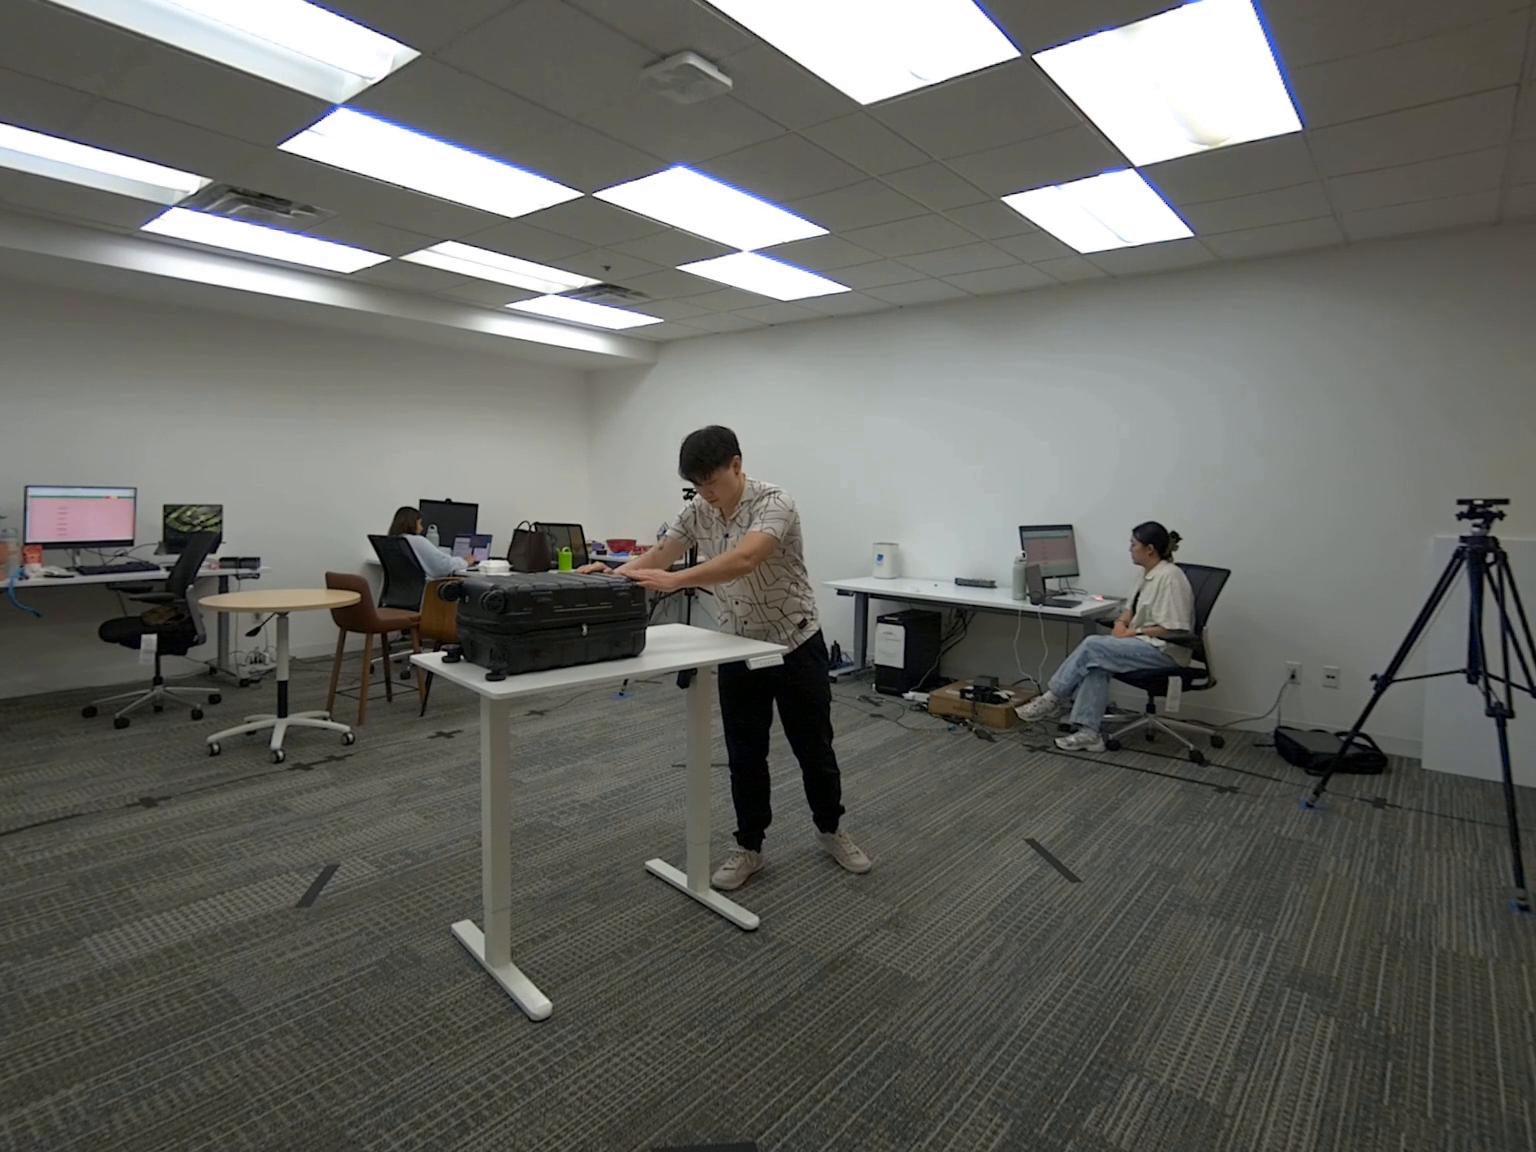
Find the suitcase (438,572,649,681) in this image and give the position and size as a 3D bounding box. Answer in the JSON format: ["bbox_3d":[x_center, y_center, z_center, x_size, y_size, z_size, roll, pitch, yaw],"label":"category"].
[{"bbox_3d":[-0.656,0.123,2.521,0.533,0.247,0.388,-4,6,-43],"label":"suitcase"}]
